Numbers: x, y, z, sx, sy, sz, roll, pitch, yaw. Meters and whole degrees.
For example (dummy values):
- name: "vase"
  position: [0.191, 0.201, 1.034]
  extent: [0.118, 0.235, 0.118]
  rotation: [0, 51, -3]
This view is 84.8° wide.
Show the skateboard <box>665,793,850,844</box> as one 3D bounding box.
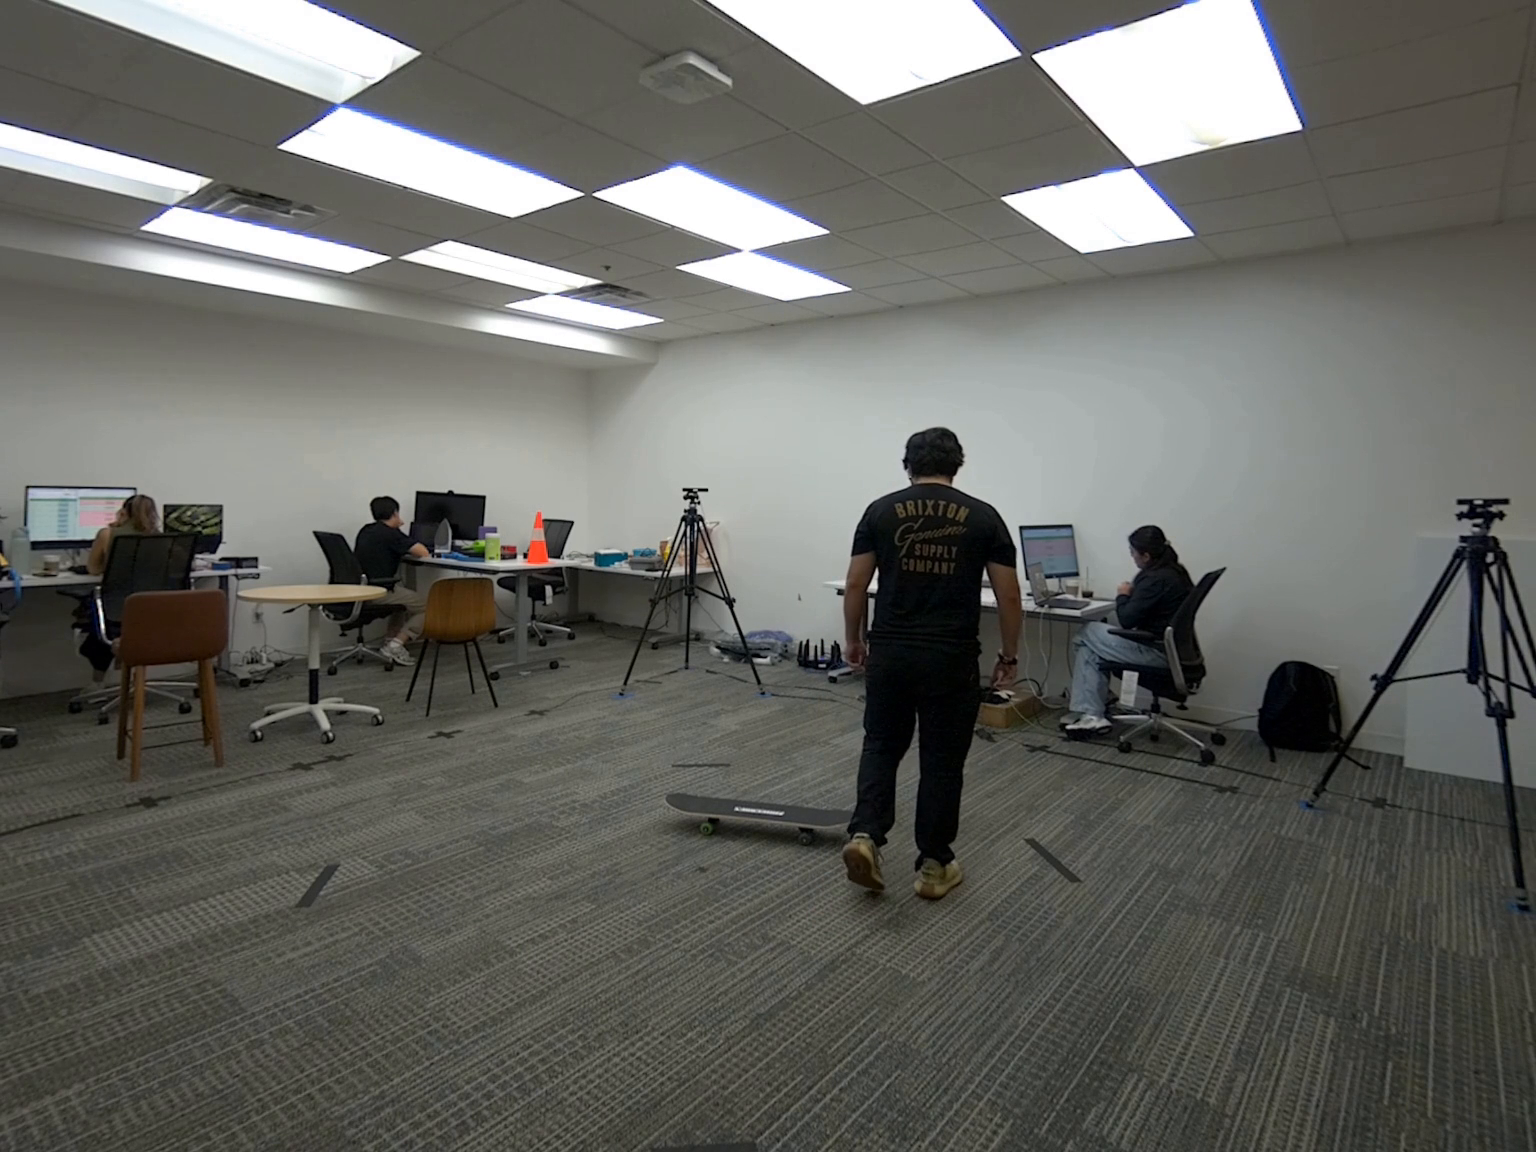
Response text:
- name: "skateboard"
  position: [-0.049, 0.979, 3.456]
  extent: [0.795, 0.110, 0.192]
  rotation: [3, 6, 11]
